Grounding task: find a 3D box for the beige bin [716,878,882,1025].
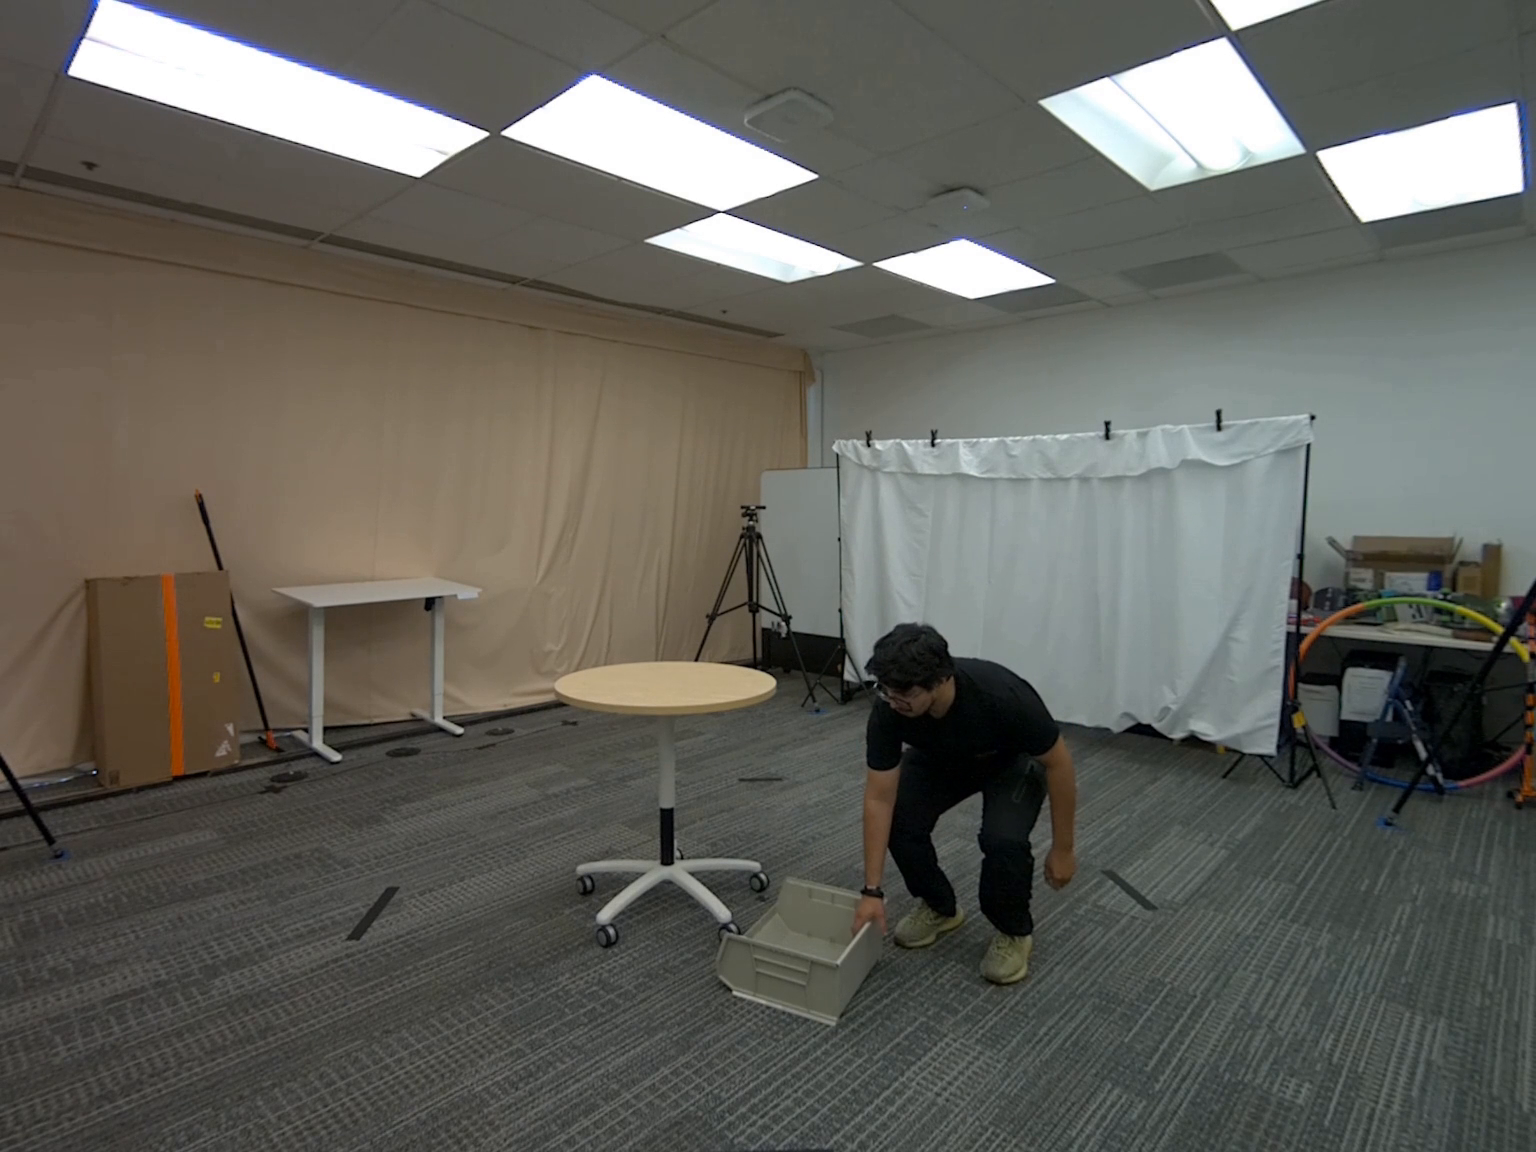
[{"bbox_3d":[0.115,1.099,2.502,0.388,0.188,0.412,3,5,27],"label":"beige bin"}]
